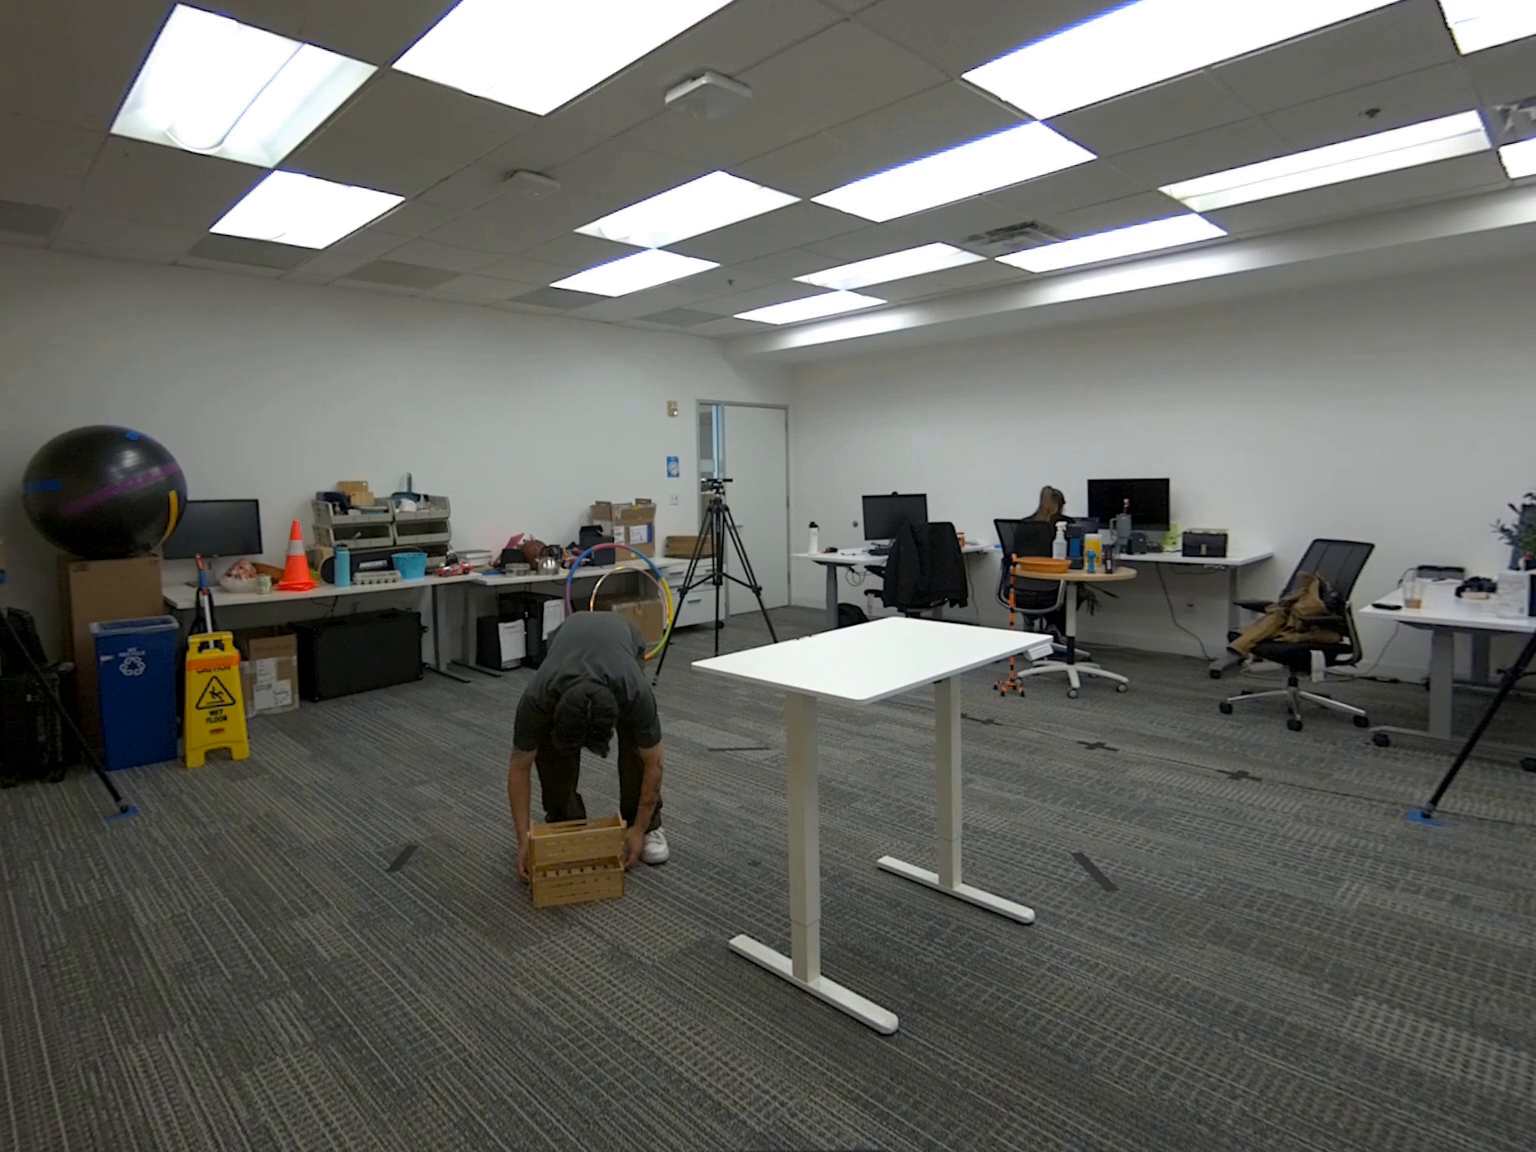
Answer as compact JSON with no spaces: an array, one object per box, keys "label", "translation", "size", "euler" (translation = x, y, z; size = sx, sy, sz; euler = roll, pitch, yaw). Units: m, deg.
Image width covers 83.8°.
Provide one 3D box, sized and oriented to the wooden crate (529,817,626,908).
[{"label":"wooden crate","translation":[-0.660,0.952,2.926],"size":[0.320,0.272,0.308],"euler":[-2,6,-16]}]
